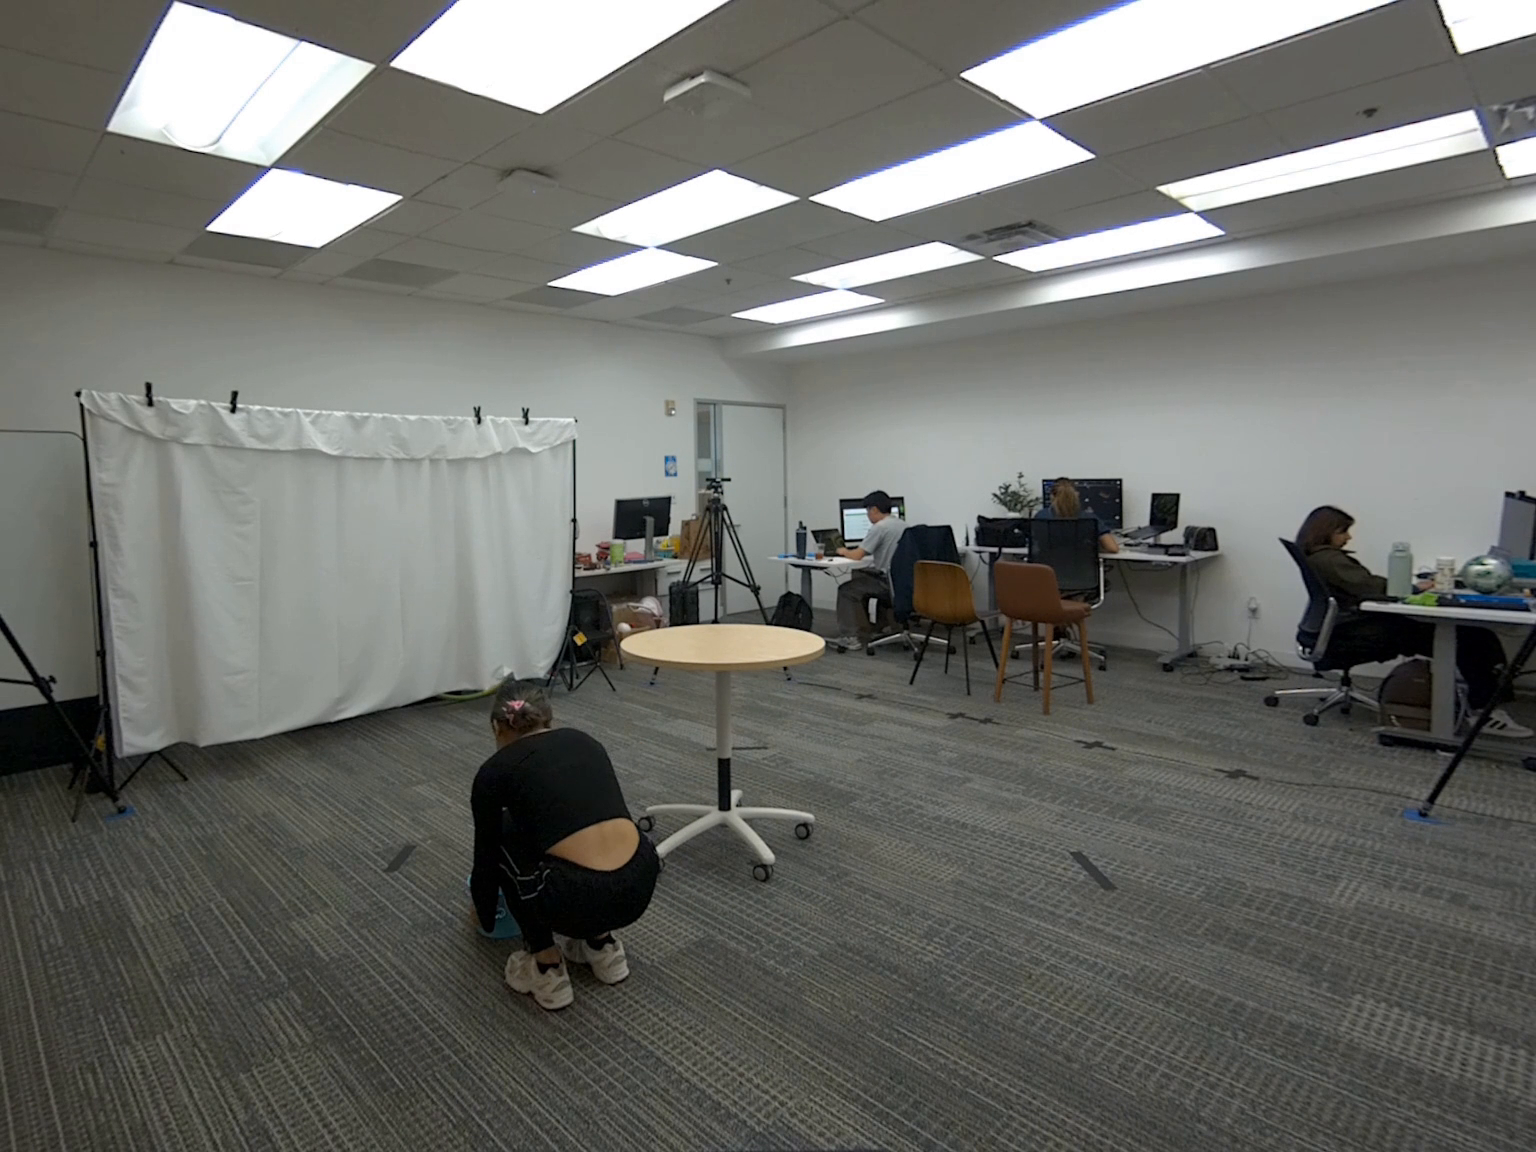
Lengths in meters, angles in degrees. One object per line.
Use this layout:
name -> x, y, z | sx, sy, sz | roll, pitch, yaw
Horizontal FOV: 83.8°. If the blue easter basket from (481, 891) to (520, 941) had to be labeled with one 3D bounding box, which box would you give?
blue easter basket -> -0.820, 1.024, 2.715 | 0.243, 0.155, 0.245 | -1, 6, -2
